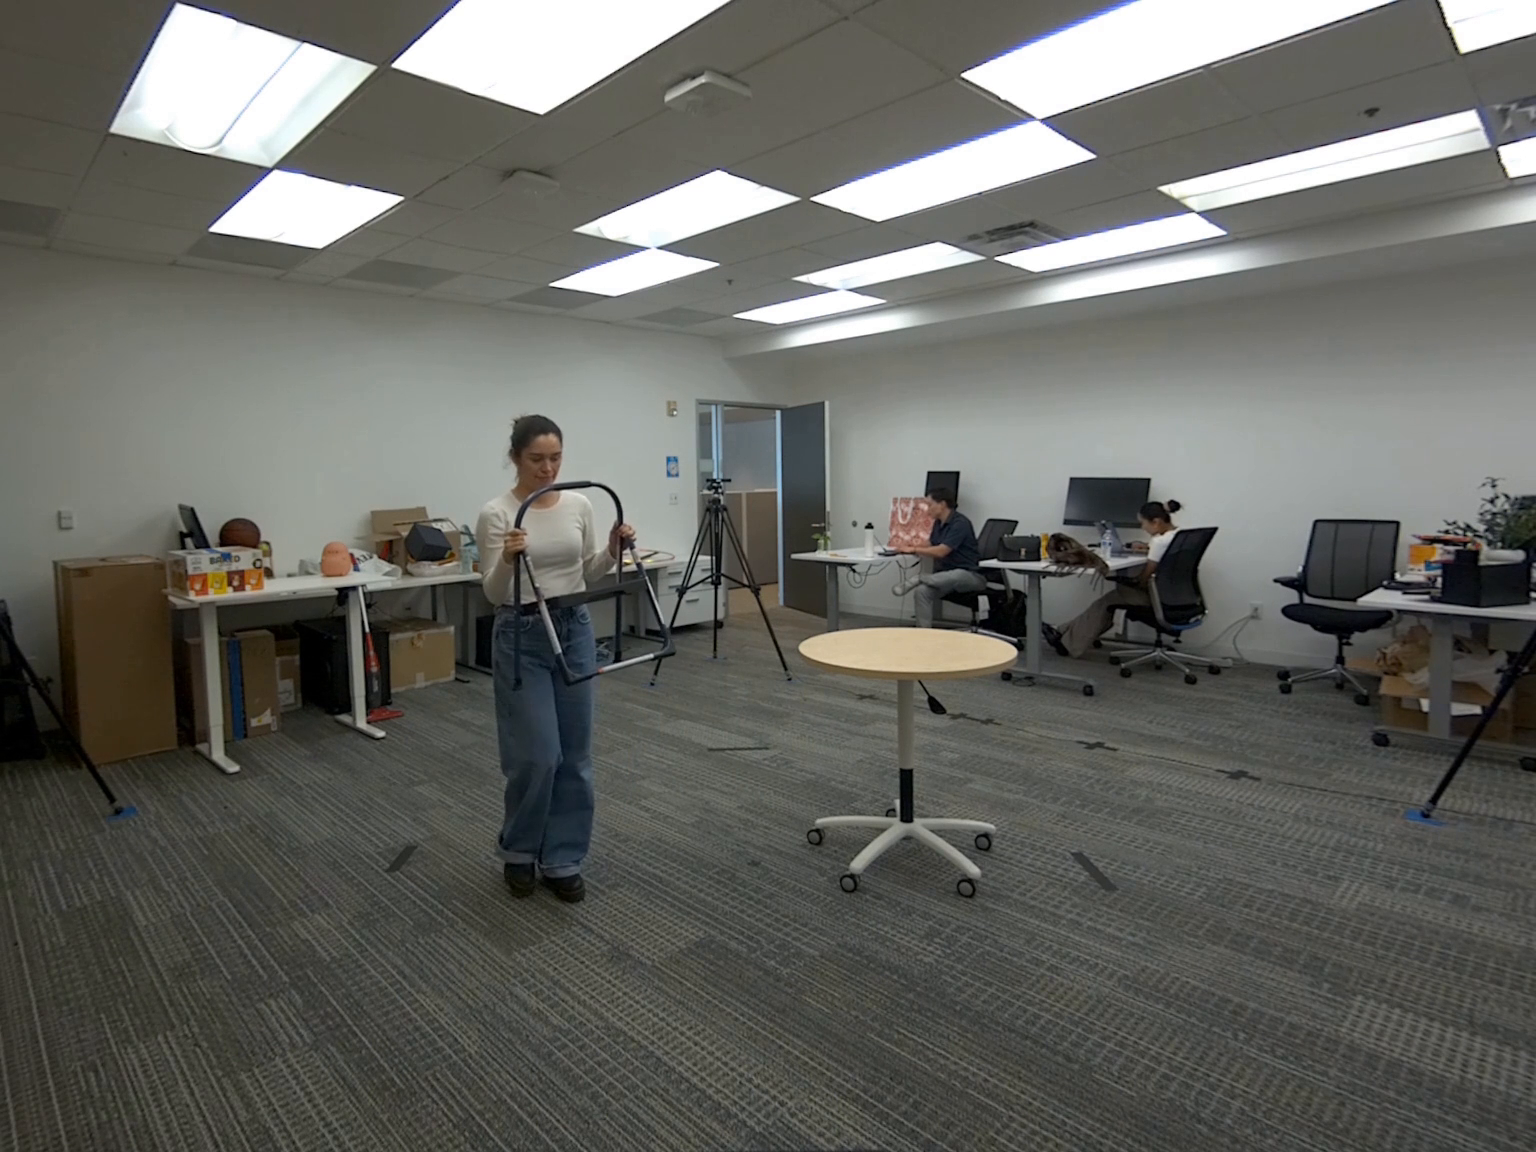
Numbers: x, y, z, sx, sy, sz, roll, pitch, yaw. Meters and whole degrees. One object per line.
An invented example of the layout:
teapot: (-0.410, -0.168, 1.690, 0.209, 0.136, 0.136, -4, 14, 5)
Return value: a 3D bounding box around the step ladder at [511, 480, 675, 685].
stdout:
step ladder: (-0.614, 0.015, 2.738, 0.421, 0.607, 0.357, -12, -1, -45)
